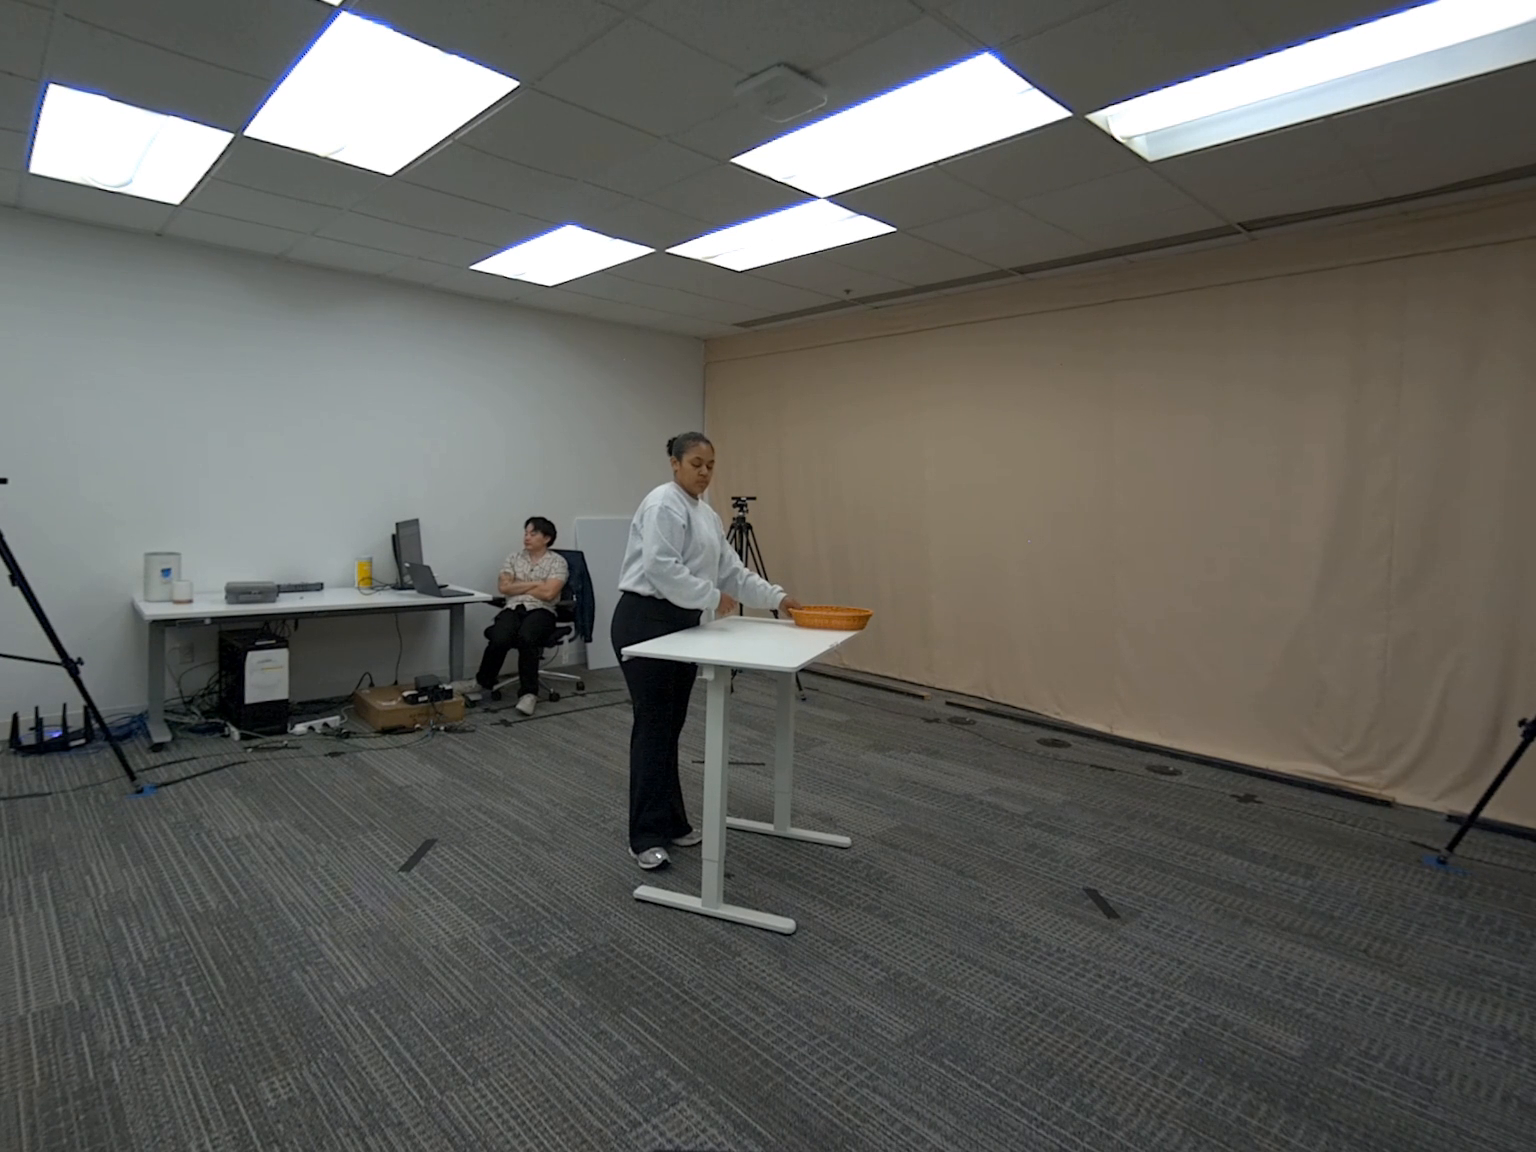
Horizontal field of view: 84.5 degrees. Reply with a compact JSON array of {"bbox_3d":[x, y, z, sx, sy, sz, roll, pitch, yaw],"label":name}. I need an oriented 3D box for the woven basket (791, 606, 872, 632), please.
[{"bbox_3d":[0.228,0.173,3.433,0.355,0.073,0.250,3,5,14],"label":"woven basket"}]
